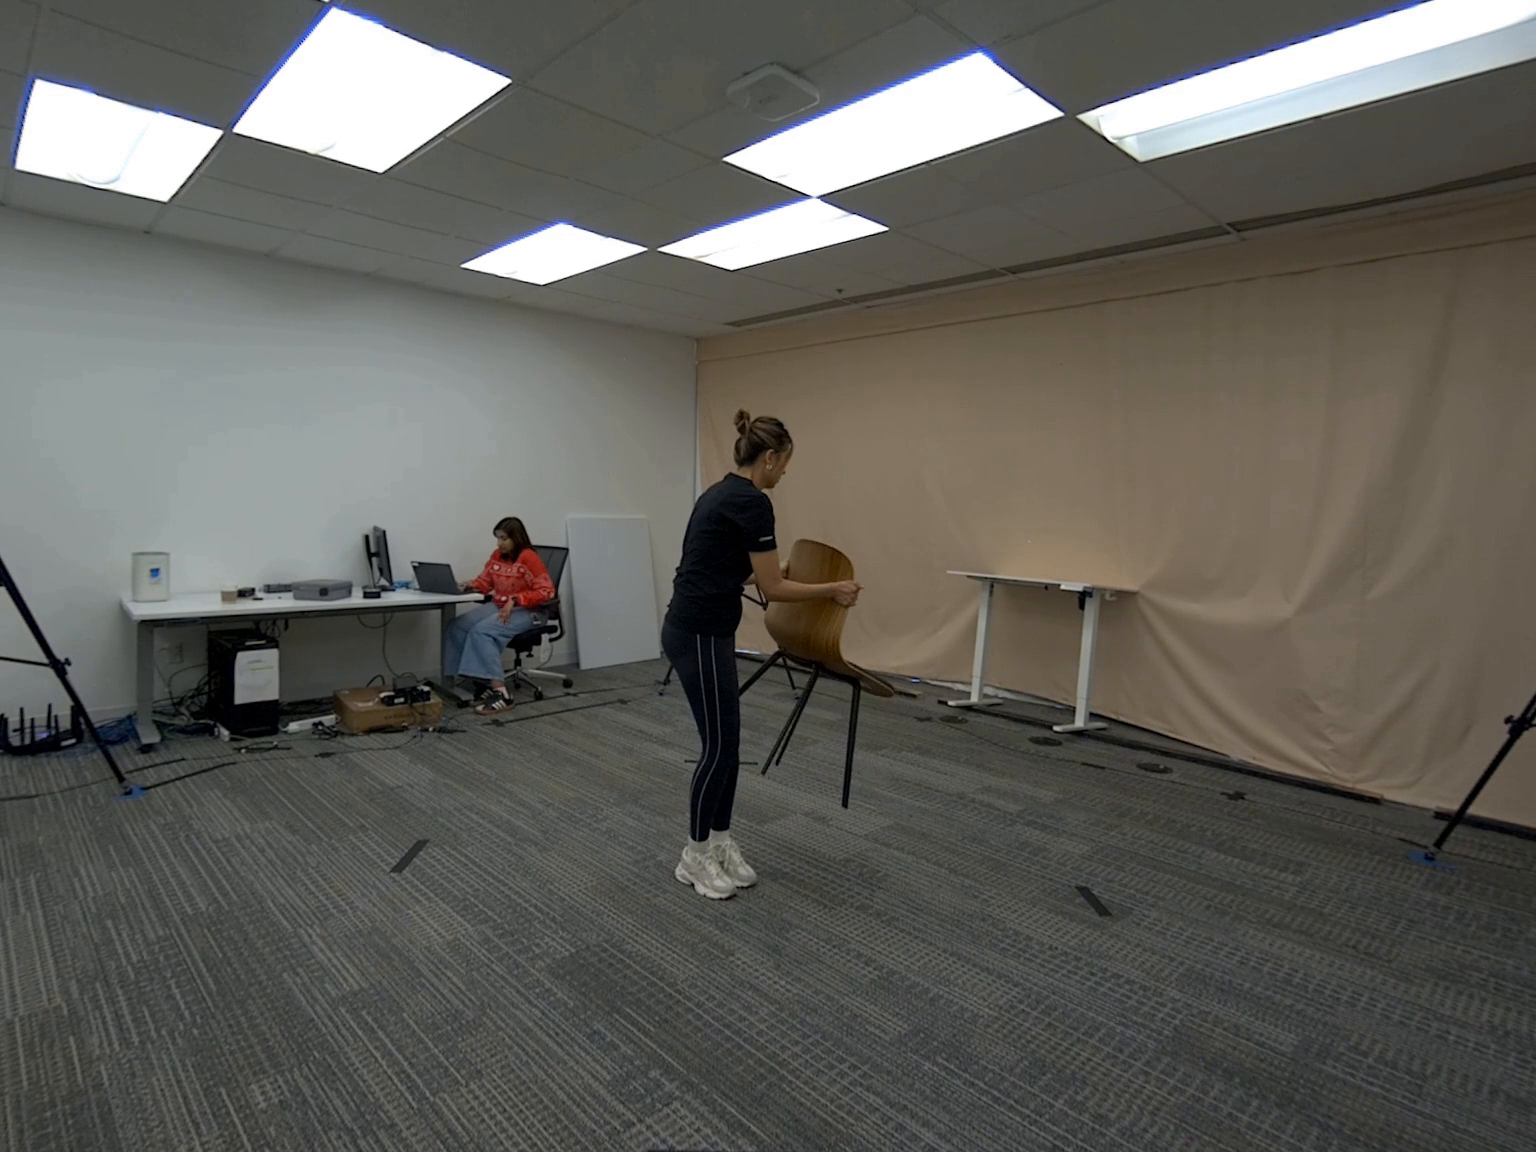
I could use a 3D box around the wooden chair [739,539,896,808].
[{"bbox_3d":[0.195,0.360,3.250,0.508,0.879,0.491,25,-6,-35],"label":"wooden chair"}]
